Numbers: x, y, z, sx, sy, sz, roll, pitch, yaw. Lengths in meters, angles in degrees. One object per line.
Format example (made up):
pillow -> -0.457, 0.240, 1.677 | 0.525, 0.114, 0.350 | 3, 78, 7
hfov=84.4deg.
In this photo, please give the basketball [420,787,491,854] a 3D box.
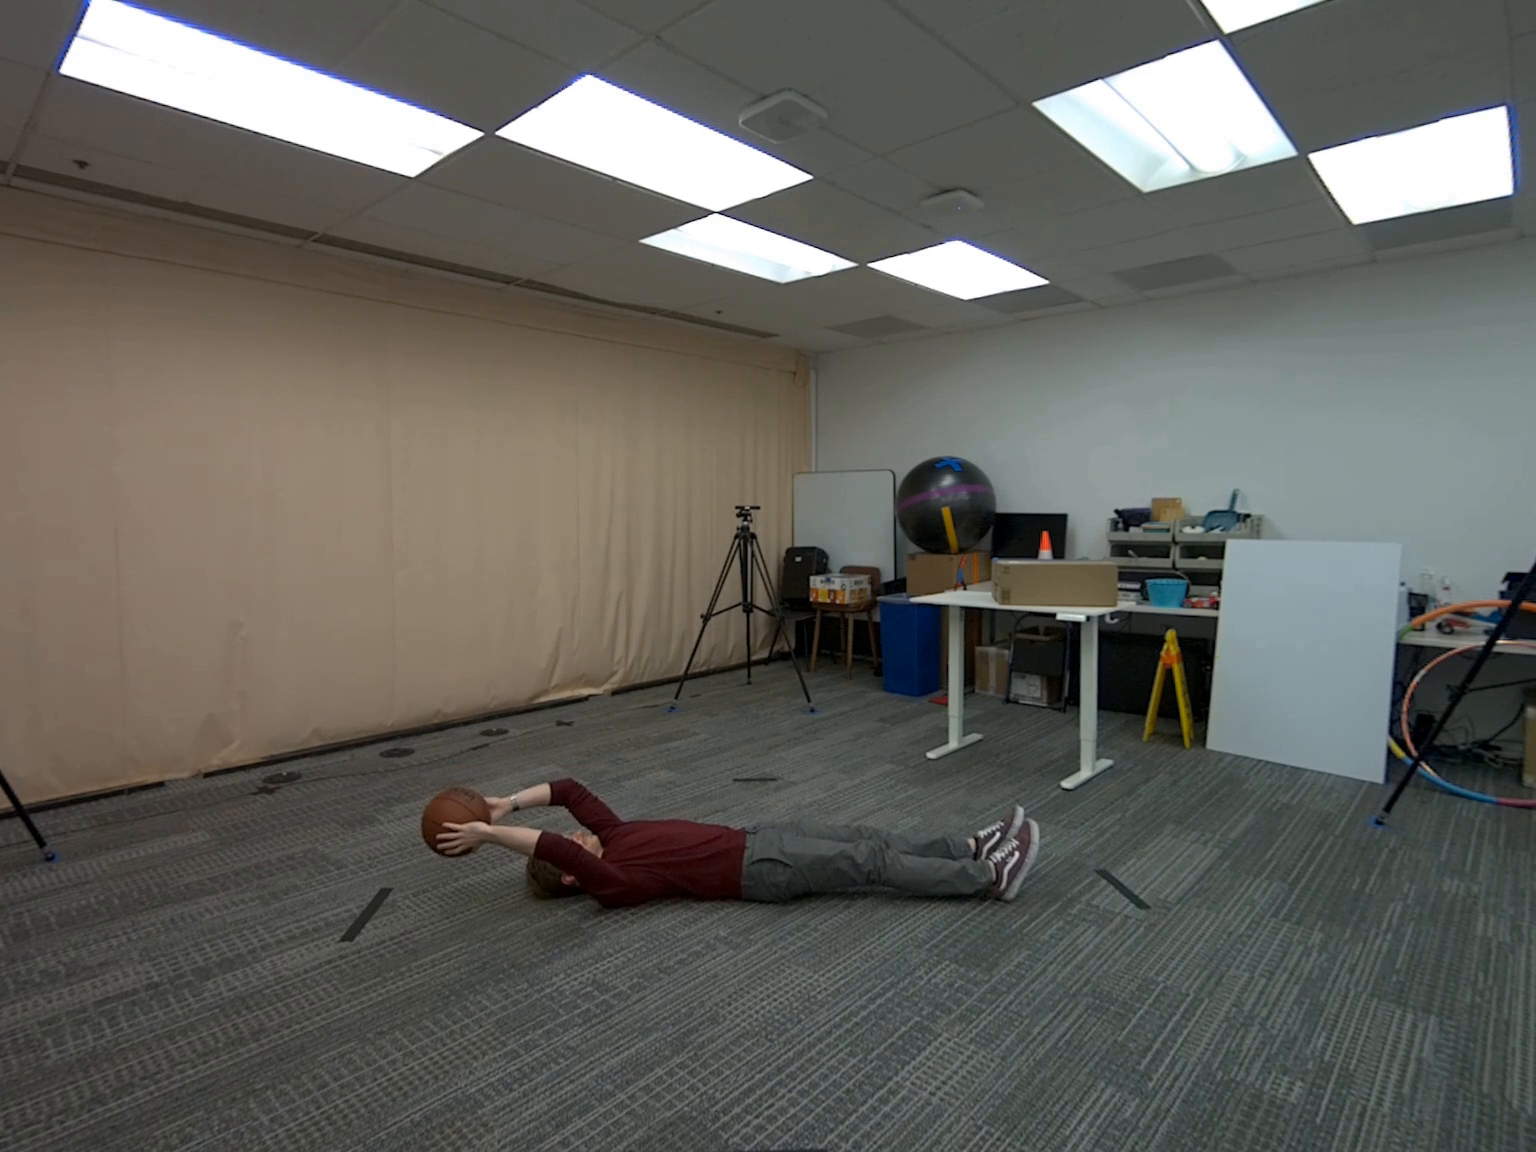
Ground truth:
basketball -> -1.102, 0.861, 2.983 | 0.236, 0.235, 0.237 | 0, 4, -2
